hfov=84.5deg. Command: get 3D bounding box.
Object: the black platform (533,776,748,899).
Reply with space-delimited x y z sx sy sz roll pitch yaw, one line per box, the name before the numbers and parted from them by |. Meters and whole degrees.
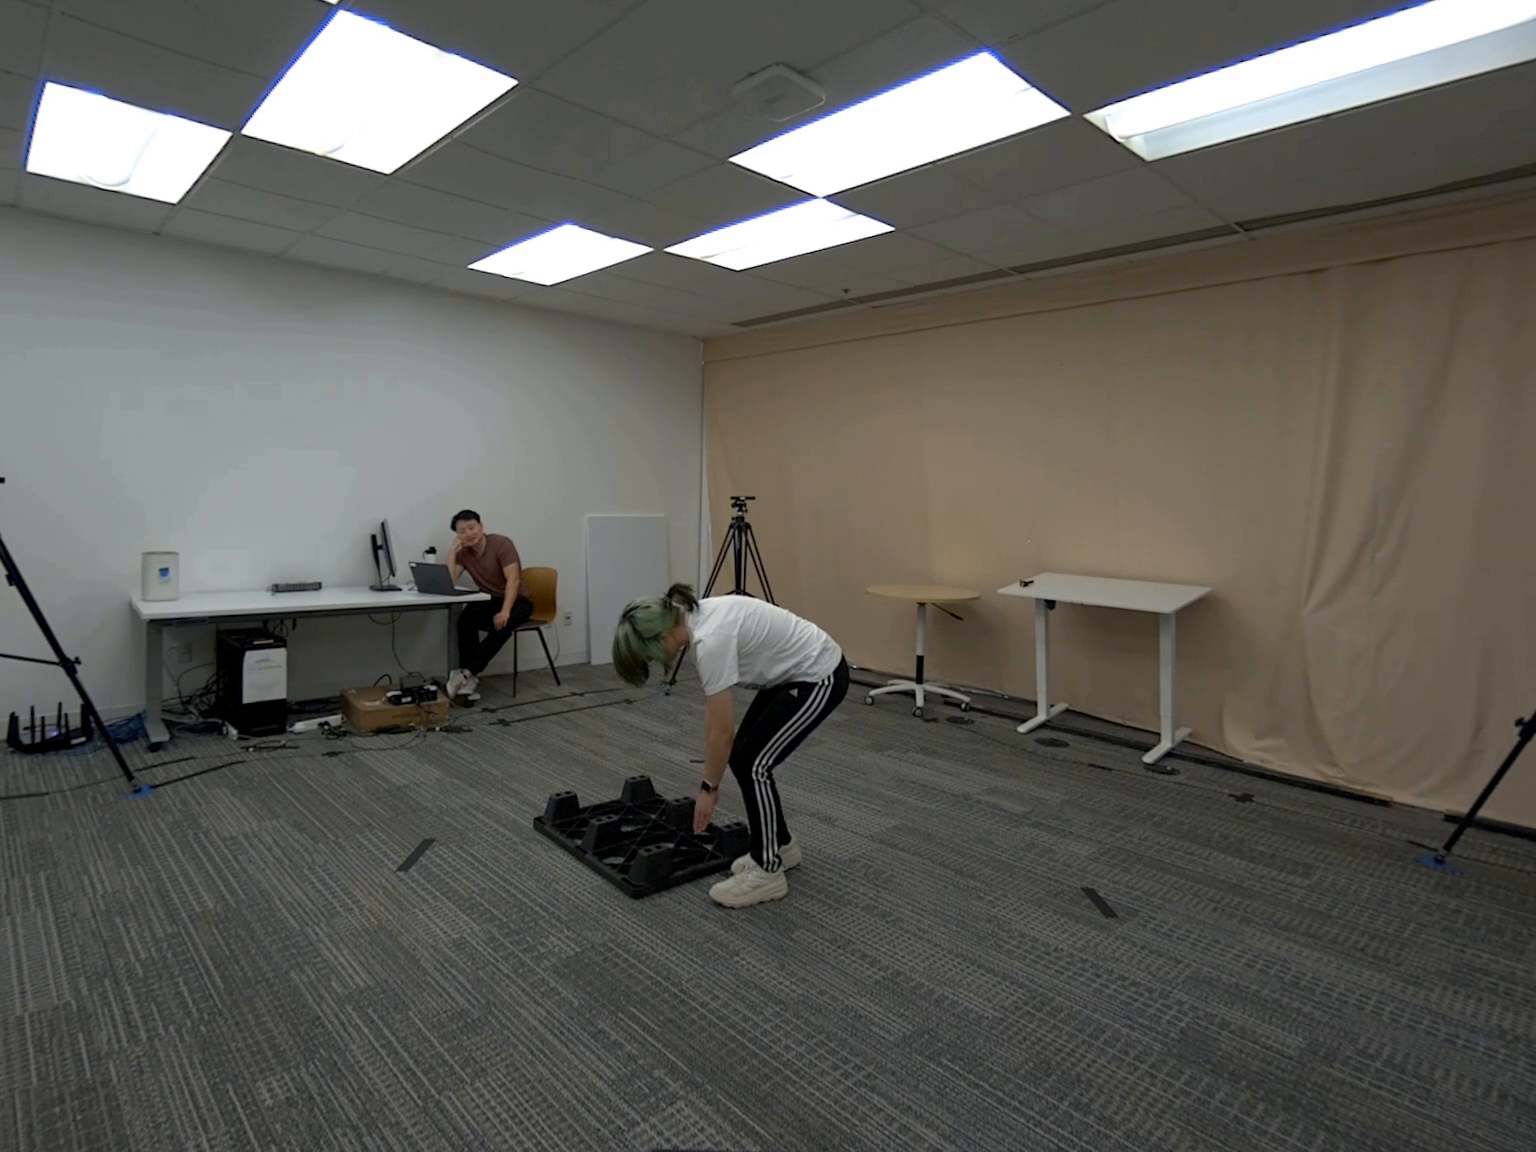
black platform | -0.495 1.006 3.382 0.592 0.143 0.826 -4 8 -40
